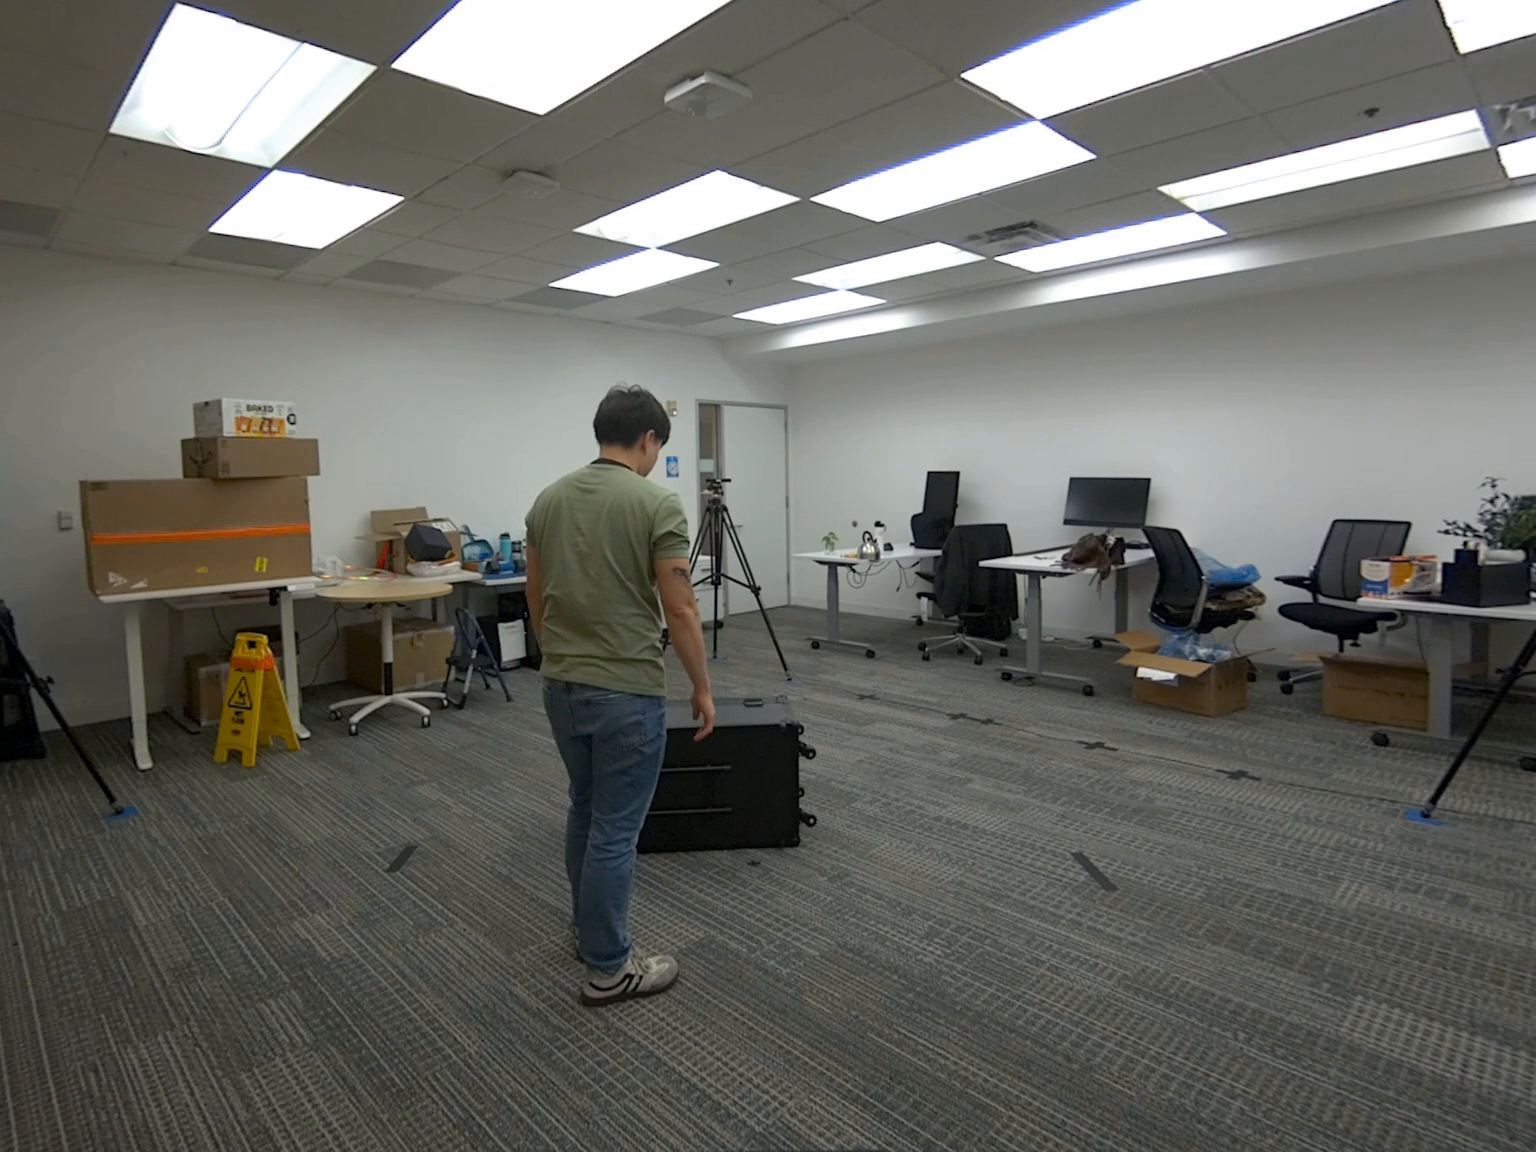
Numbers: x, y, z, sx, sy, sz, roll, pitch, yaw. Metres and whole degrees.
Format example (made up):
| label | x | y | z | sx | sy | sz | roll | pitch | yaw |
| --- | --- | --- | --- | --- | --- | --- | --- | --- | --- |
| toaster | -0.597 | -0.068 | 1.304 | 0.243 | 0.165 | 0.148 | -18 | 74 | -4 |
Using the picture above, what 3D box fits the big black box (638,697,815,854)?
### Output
| label | x | y | z | sx | sy | sz | roll | pitch | yaw |
| --- | --- | --- | --- | --- | --- | --- | --- | --- | --- |
| big black box | -0.255 | 0.763 | 3.346 | 0.857 | 0.518 | 0.401 | -2 | 7 | -5 |
